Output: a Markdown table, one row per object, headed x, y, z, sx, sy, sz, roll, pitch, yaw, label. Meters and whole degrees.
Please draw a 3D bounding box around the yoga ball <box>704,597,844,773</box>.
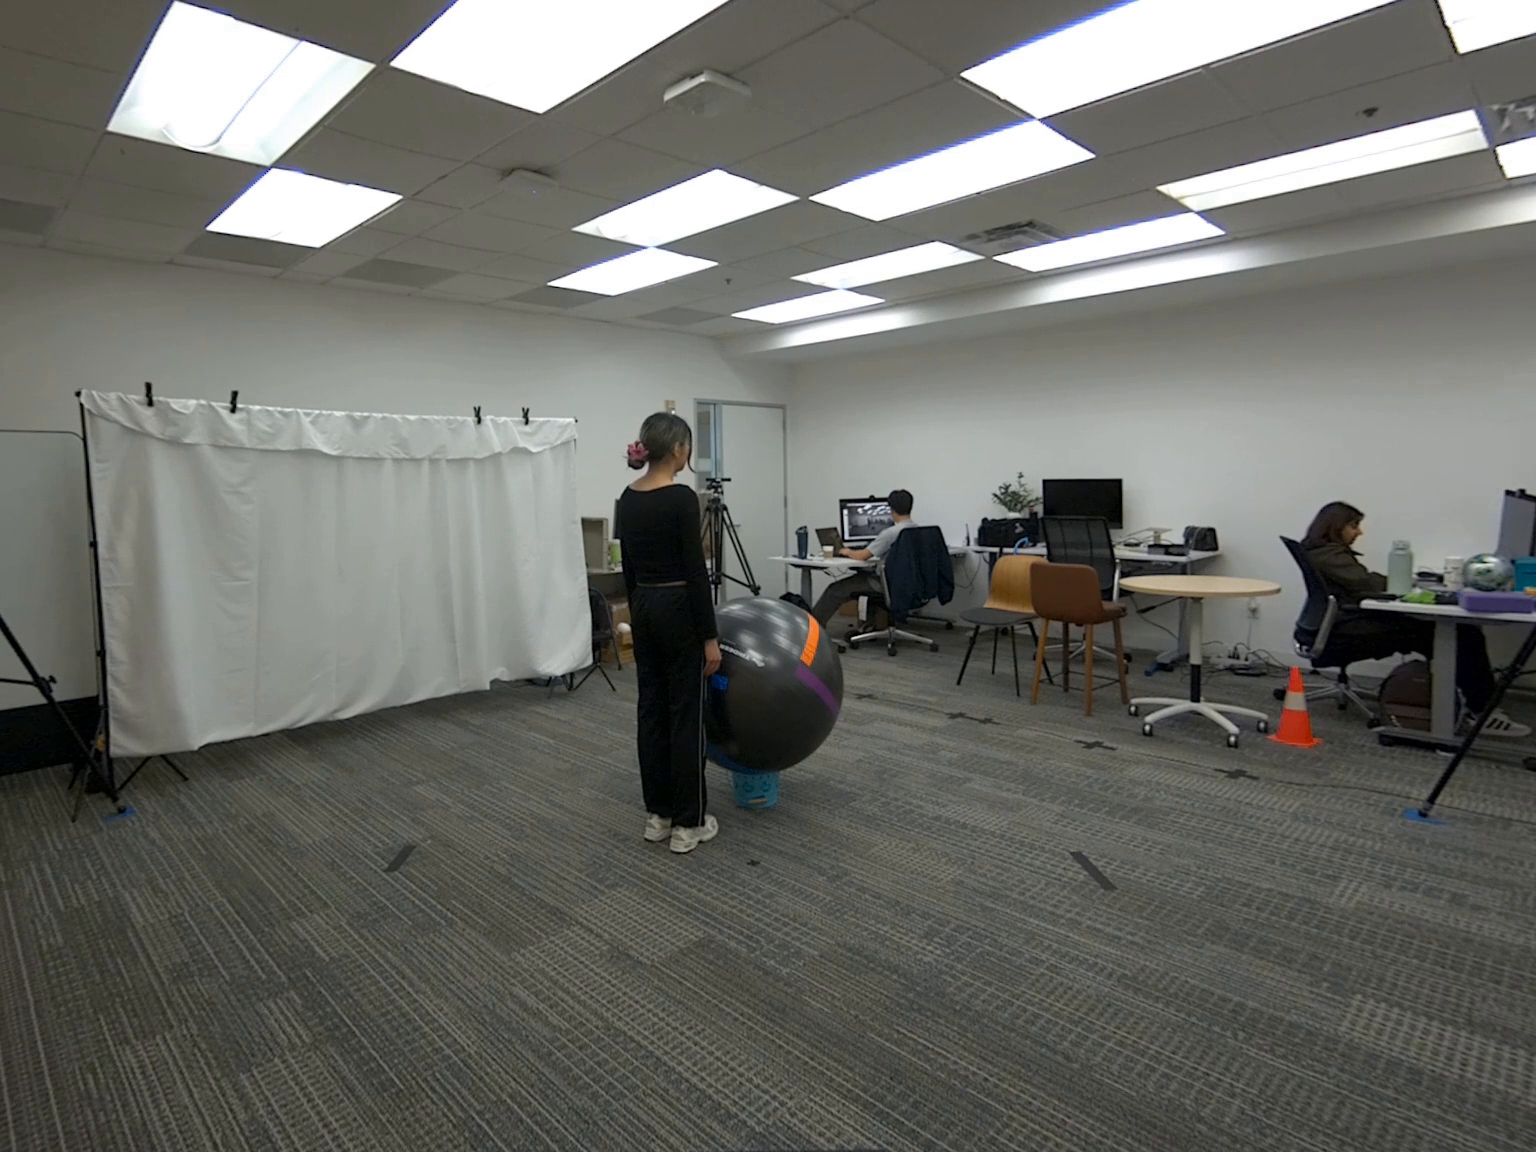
| x | y | z | sx | sy | sz | roll | pitch | yaw | label |
| --- | --- | --- | --- | --- | --- | --- | --- | --- | --- |
| -0.053 | 0.467 | 3.693 | 0.757 | 0.755 | 0.762 | -1 | 5 | -2 | yoga ball |
